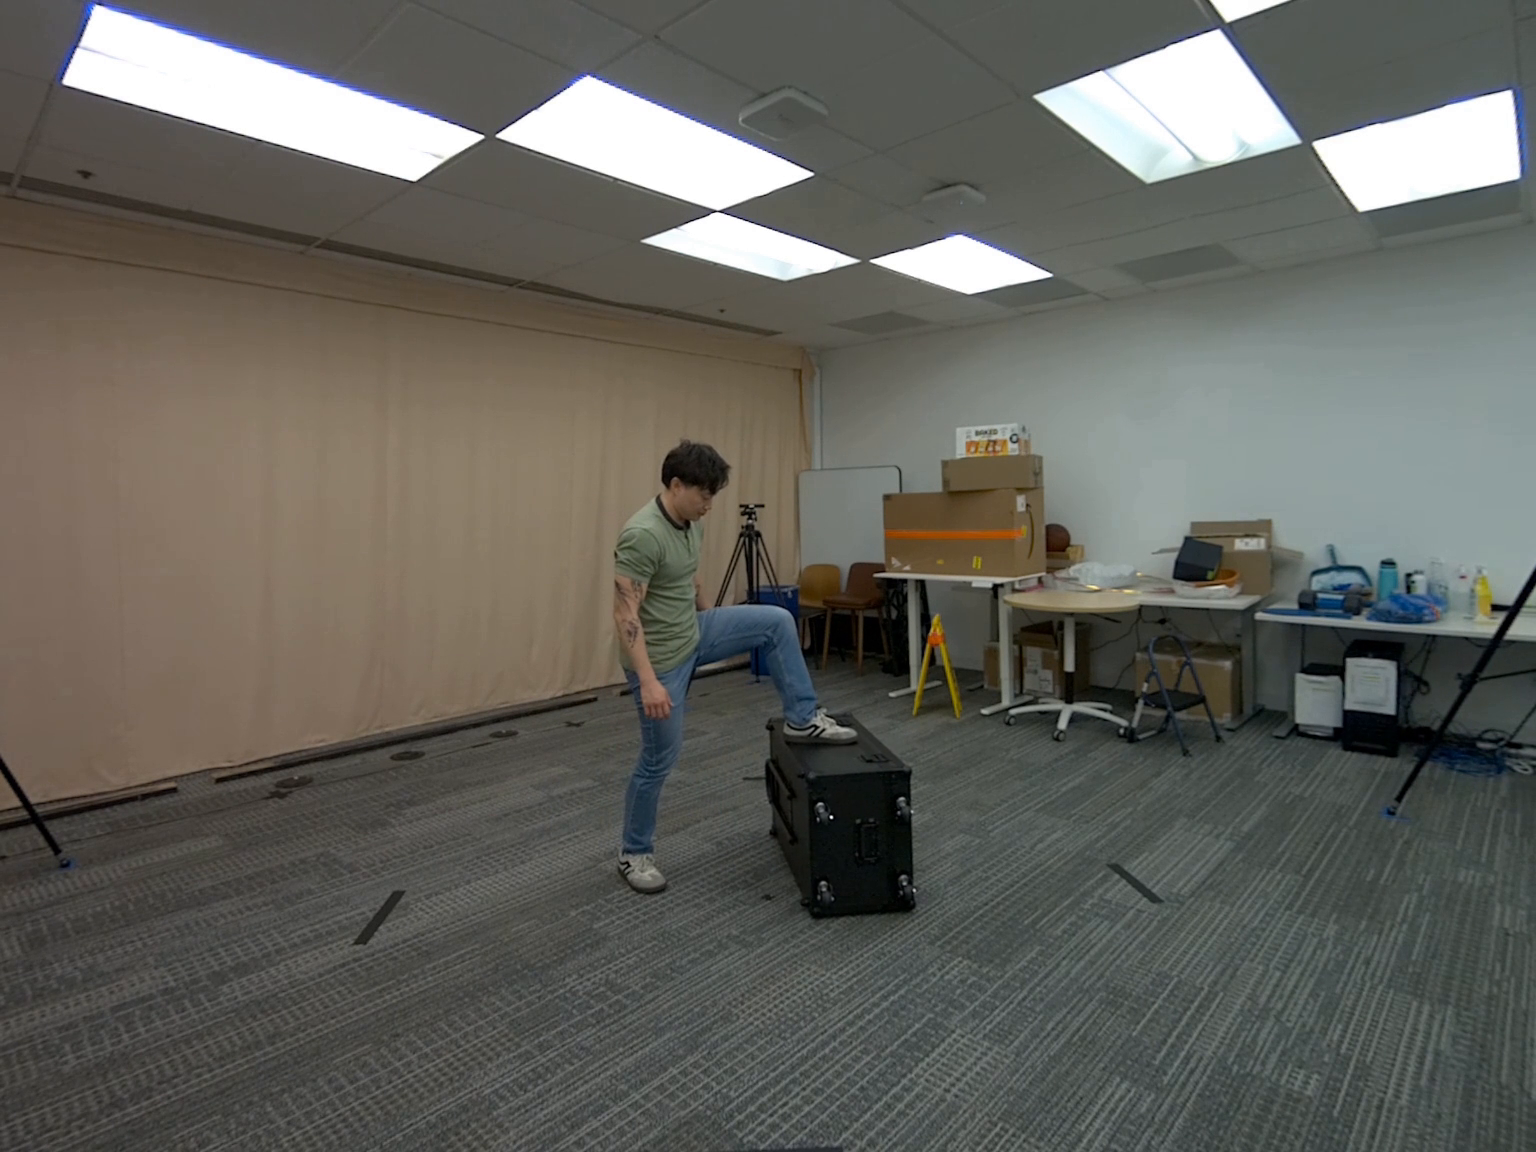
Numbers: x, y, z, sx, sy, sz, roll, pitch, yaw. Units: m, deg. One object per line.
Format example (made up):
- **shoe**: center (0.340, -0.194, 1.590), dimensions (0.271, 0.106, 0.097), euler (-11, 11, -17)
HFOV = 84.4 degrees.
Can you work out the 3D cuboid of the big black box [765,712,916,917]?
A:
- **big black box**: center (0.241, 0.864, 3.171), dimensions (0.393, 0.520, 0.871), euler (-3, 5, -9)
